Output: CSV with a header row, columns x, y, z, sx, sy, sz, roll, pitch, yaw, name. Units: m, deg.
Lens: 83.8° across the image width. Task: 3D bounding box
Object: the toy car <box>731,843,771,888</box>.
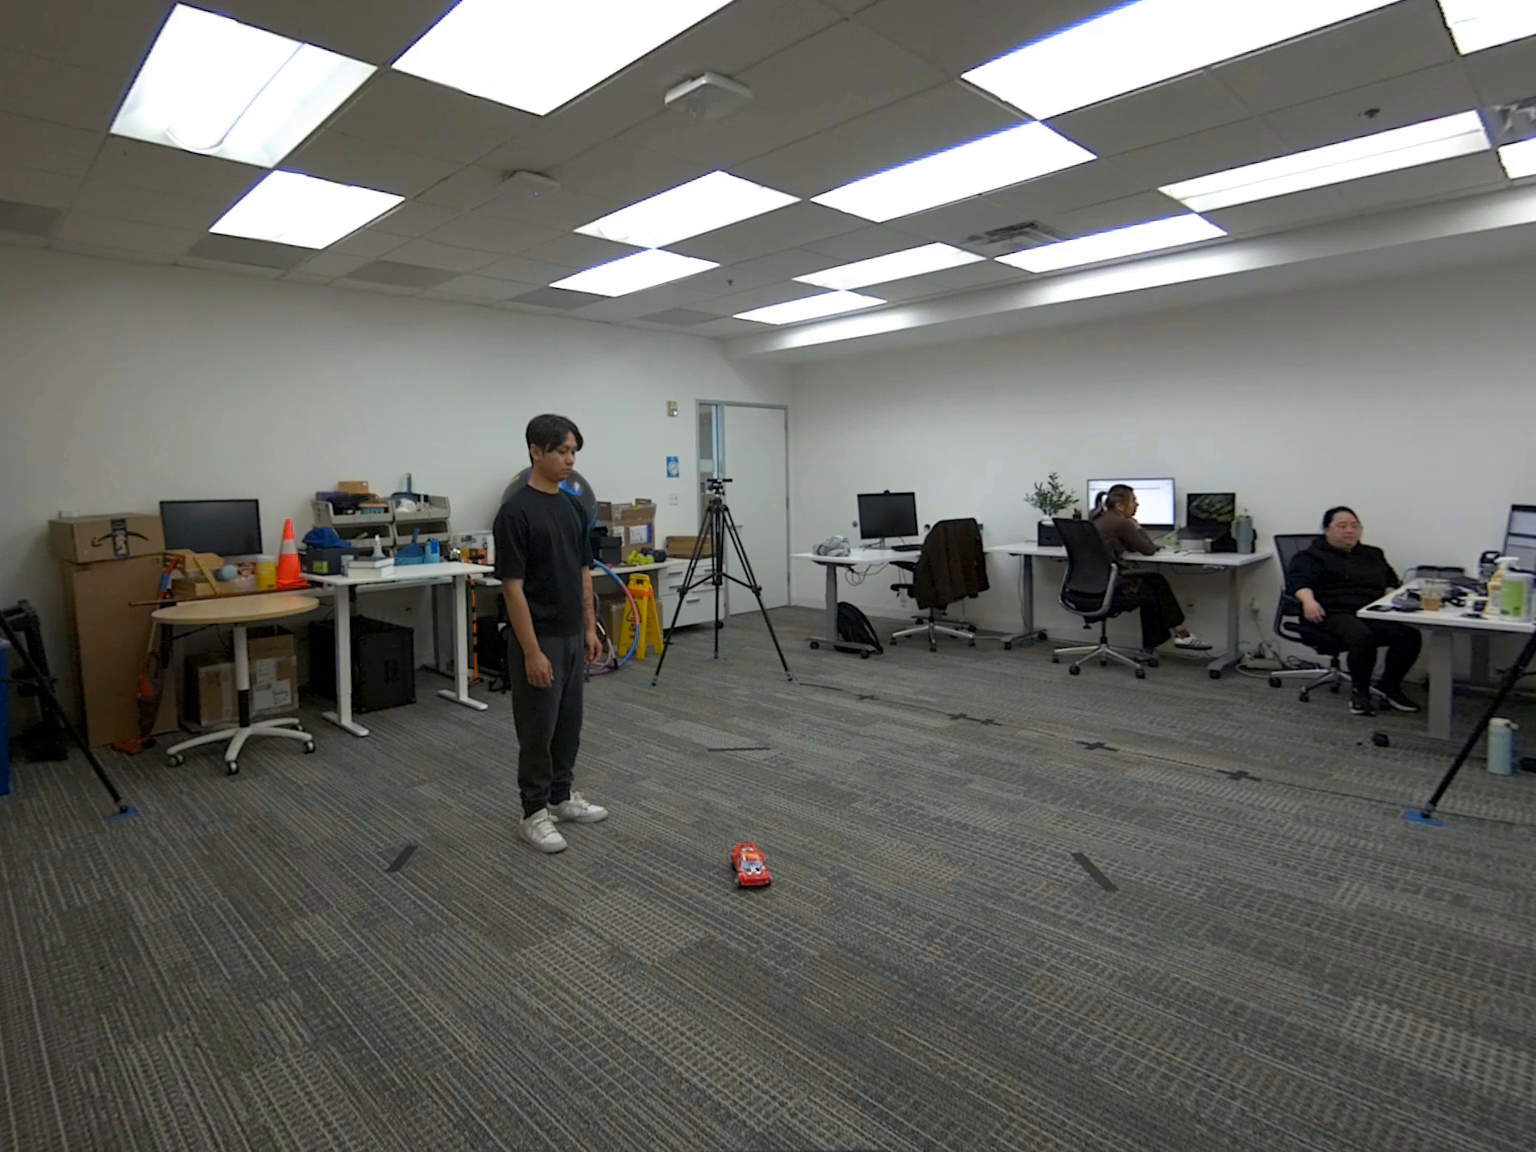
x,y,z,sx,sy,sz,roll,pitch,yaw,name
-0.064,1.023,3.021,0.129,0.082,0.260,-2,18,-8,toy car
